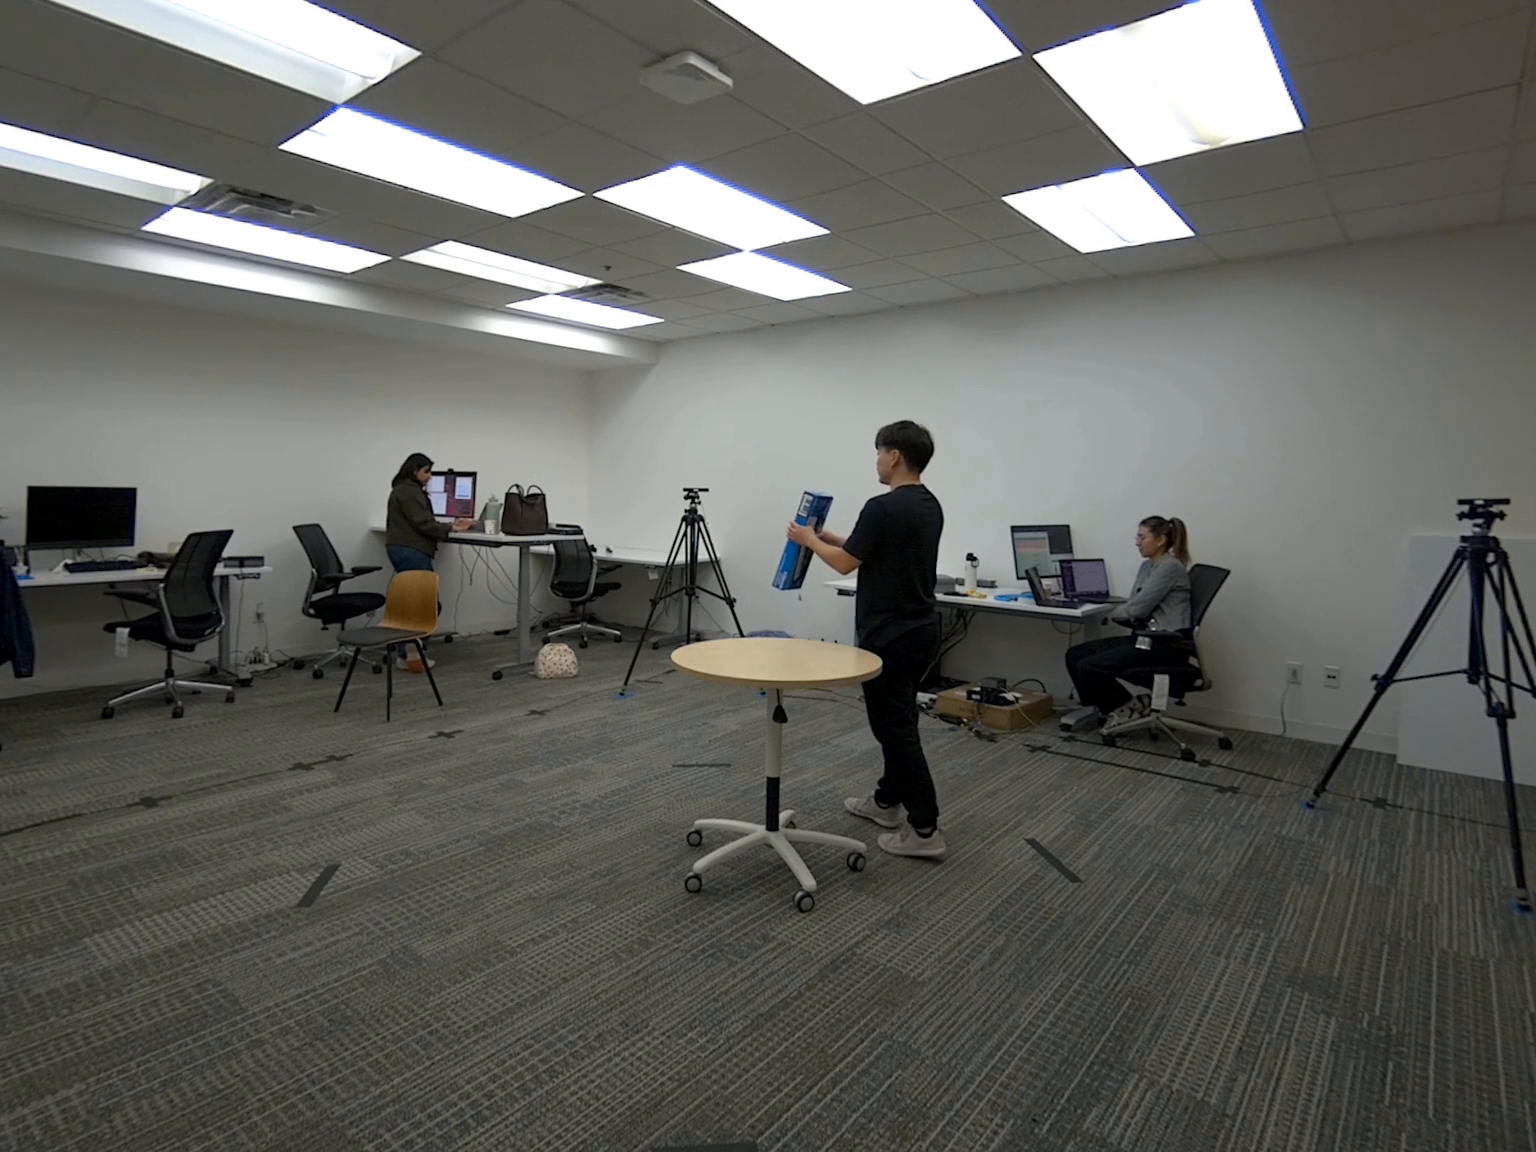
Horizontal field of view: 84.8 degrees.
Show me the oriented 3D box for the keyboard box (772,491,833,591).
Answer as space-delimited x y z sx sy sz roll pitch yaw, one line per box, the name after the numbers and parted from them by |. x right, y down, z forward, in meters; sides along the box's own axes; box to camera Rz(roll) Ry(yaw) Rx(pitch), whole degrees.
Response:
0.143 -0.156 3.693 0.061 0.434 0.171 25 14 28 | keyboard box
